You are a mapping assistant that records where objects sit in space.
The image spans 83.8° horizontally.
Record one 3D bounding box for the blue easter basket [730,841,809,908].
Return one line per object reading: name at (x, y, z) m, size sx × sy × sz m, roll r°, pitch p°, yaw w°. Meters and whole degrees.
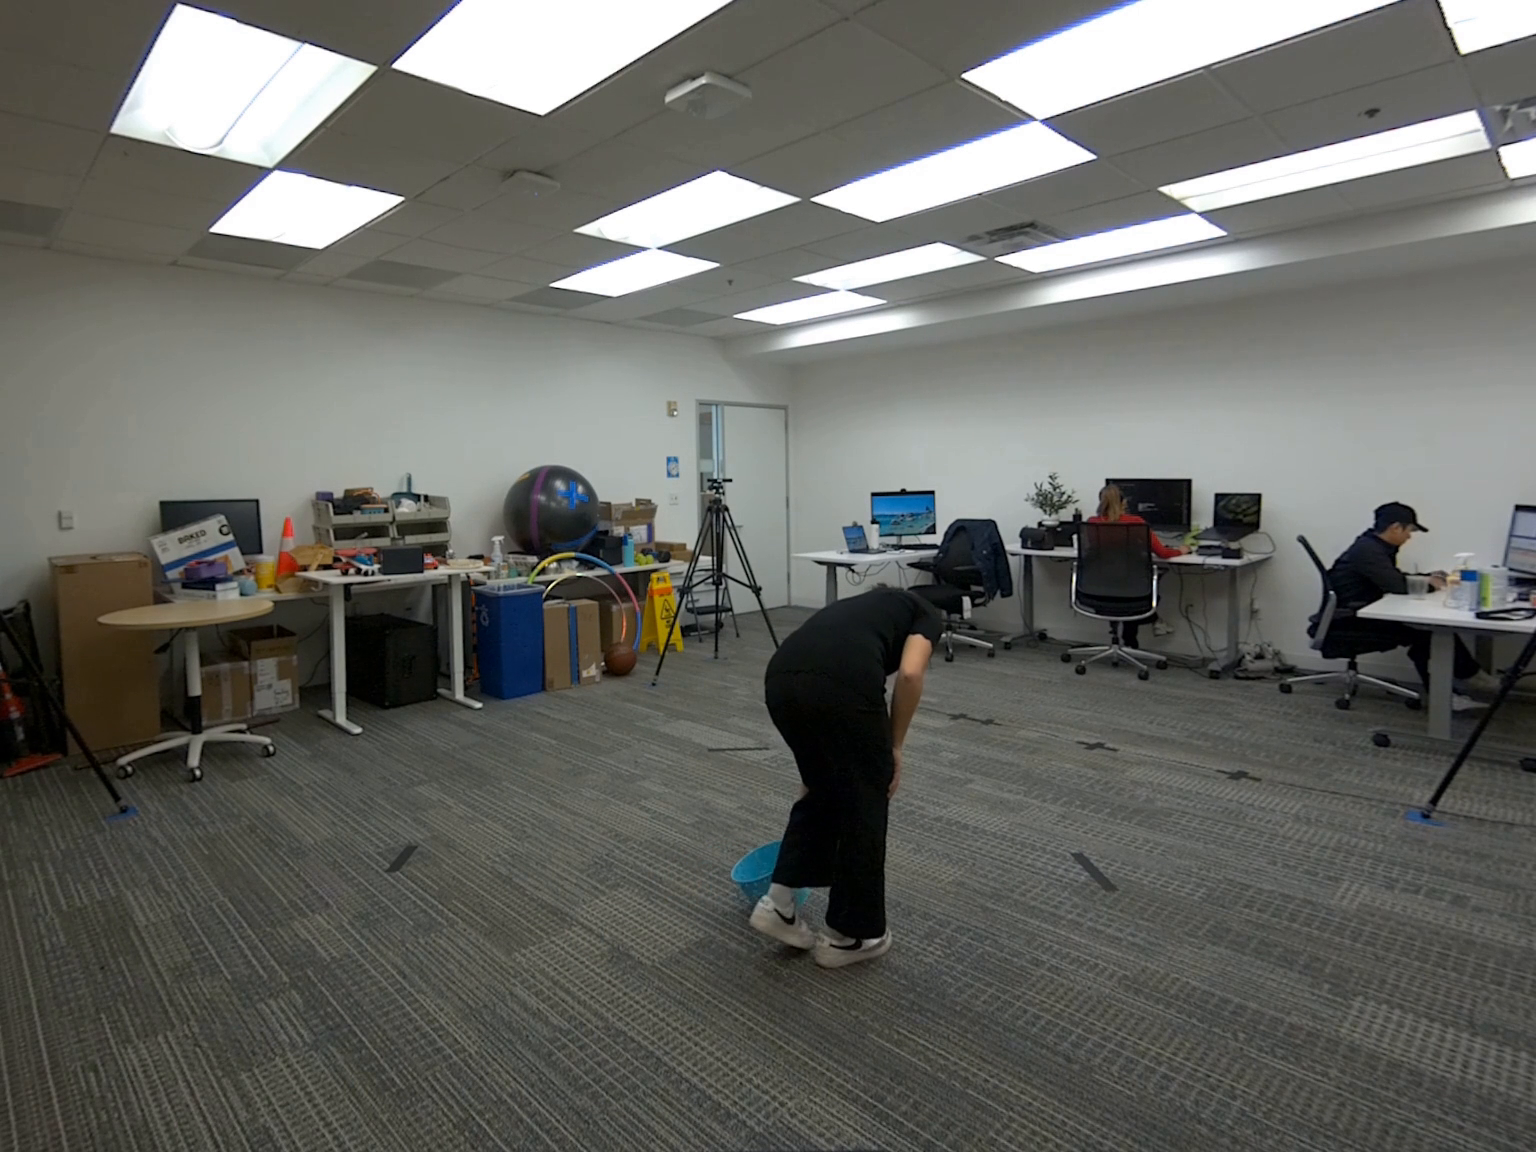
blue easter basket at (0.019, 0.983, 2.736) m, size 0.243 × 0.155 × 0.245 m, roll -23°, pitch 5°, yaw 0°
